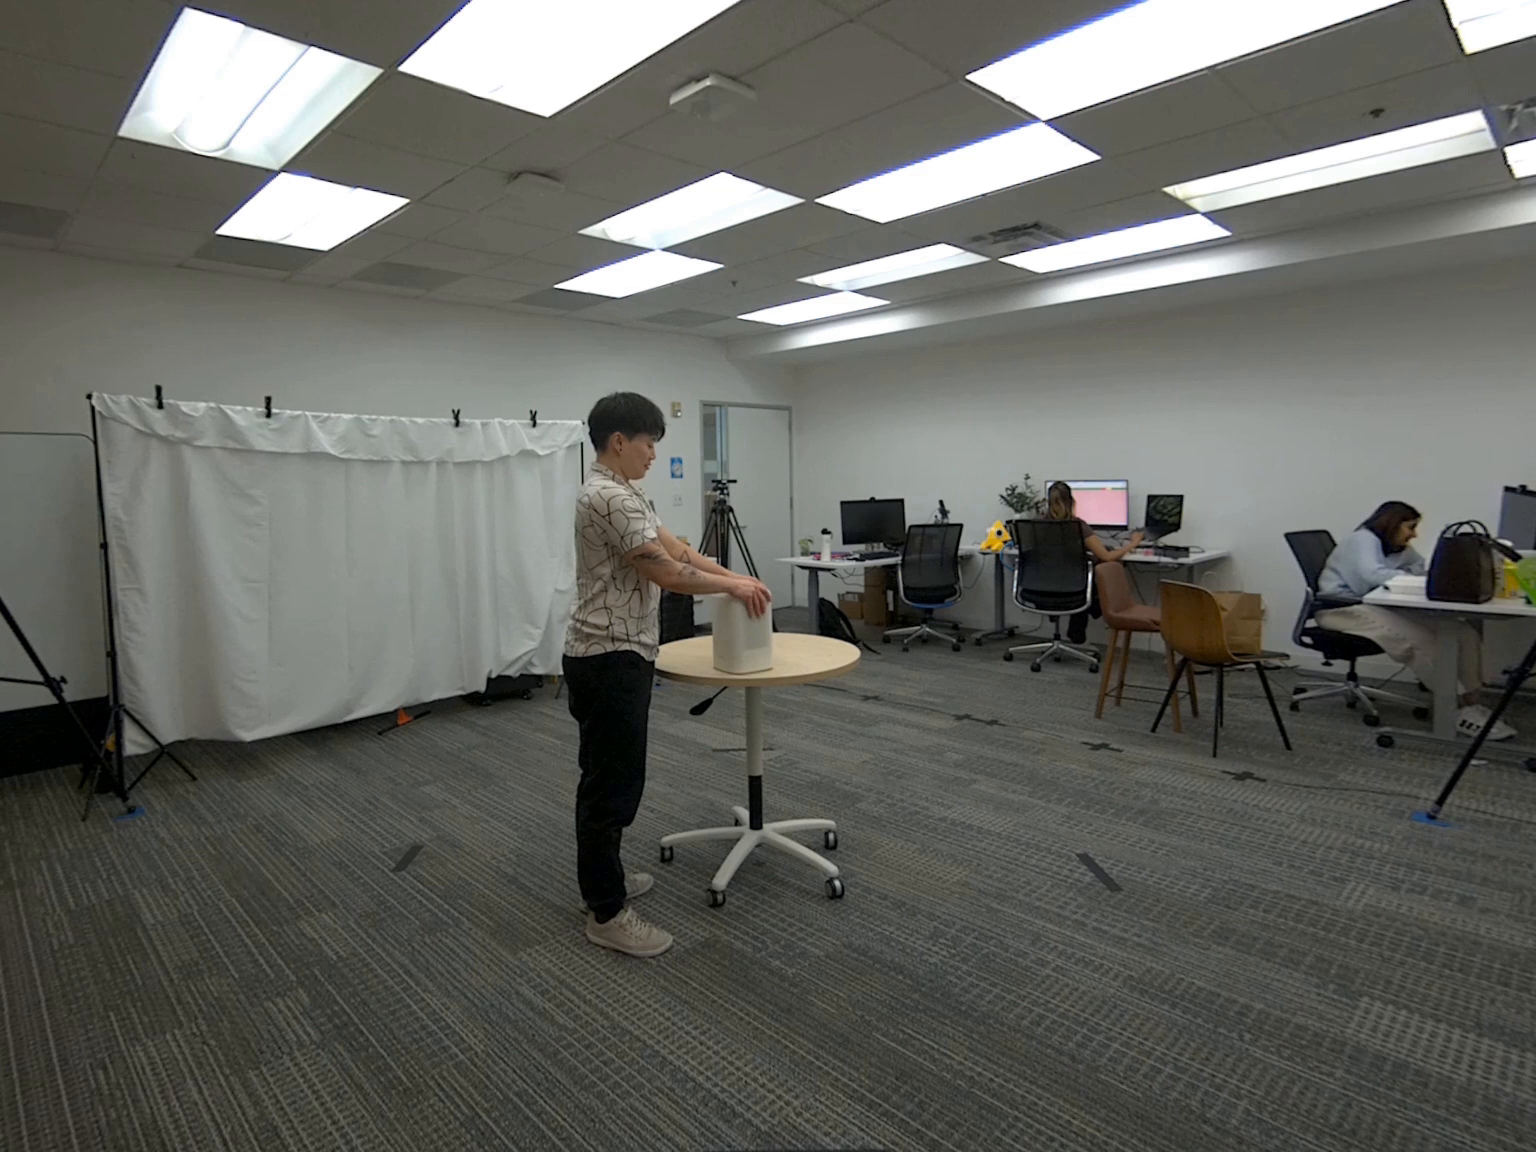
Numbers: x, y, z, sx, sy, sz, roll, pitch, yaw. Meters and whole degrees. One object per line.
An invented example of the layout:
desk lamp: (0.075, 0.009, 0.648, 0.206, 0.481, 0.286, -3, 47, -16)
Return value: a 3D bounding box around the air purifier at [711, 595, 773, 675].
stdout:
air purifier: (-0.086, 0.171, 2.808, 0.167, 0.264, 0.176, -5, 5, -31)
